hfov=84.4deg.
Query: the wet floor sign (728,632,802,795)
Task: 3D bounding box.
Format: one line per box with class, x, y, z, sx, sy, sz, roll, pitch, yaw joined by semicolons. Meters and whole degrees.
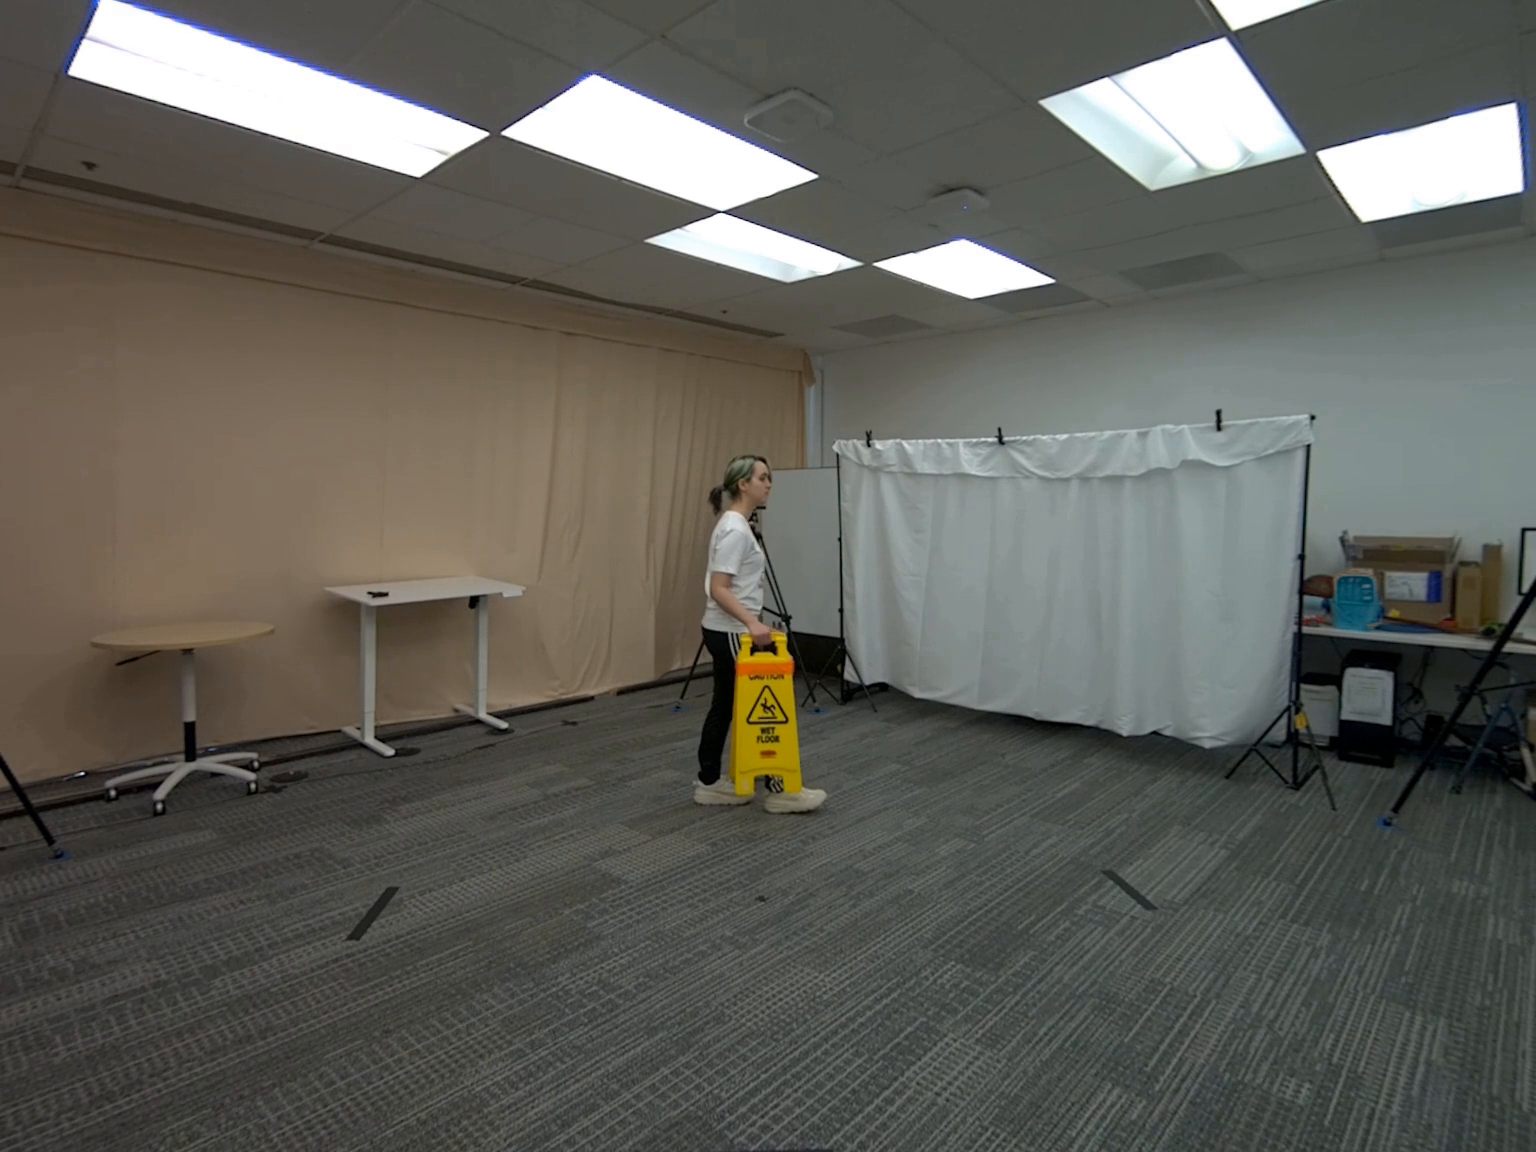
wet floor sign;-0.007;0.570;3.595;0.280;0.645;0.292;-1;1;-8
